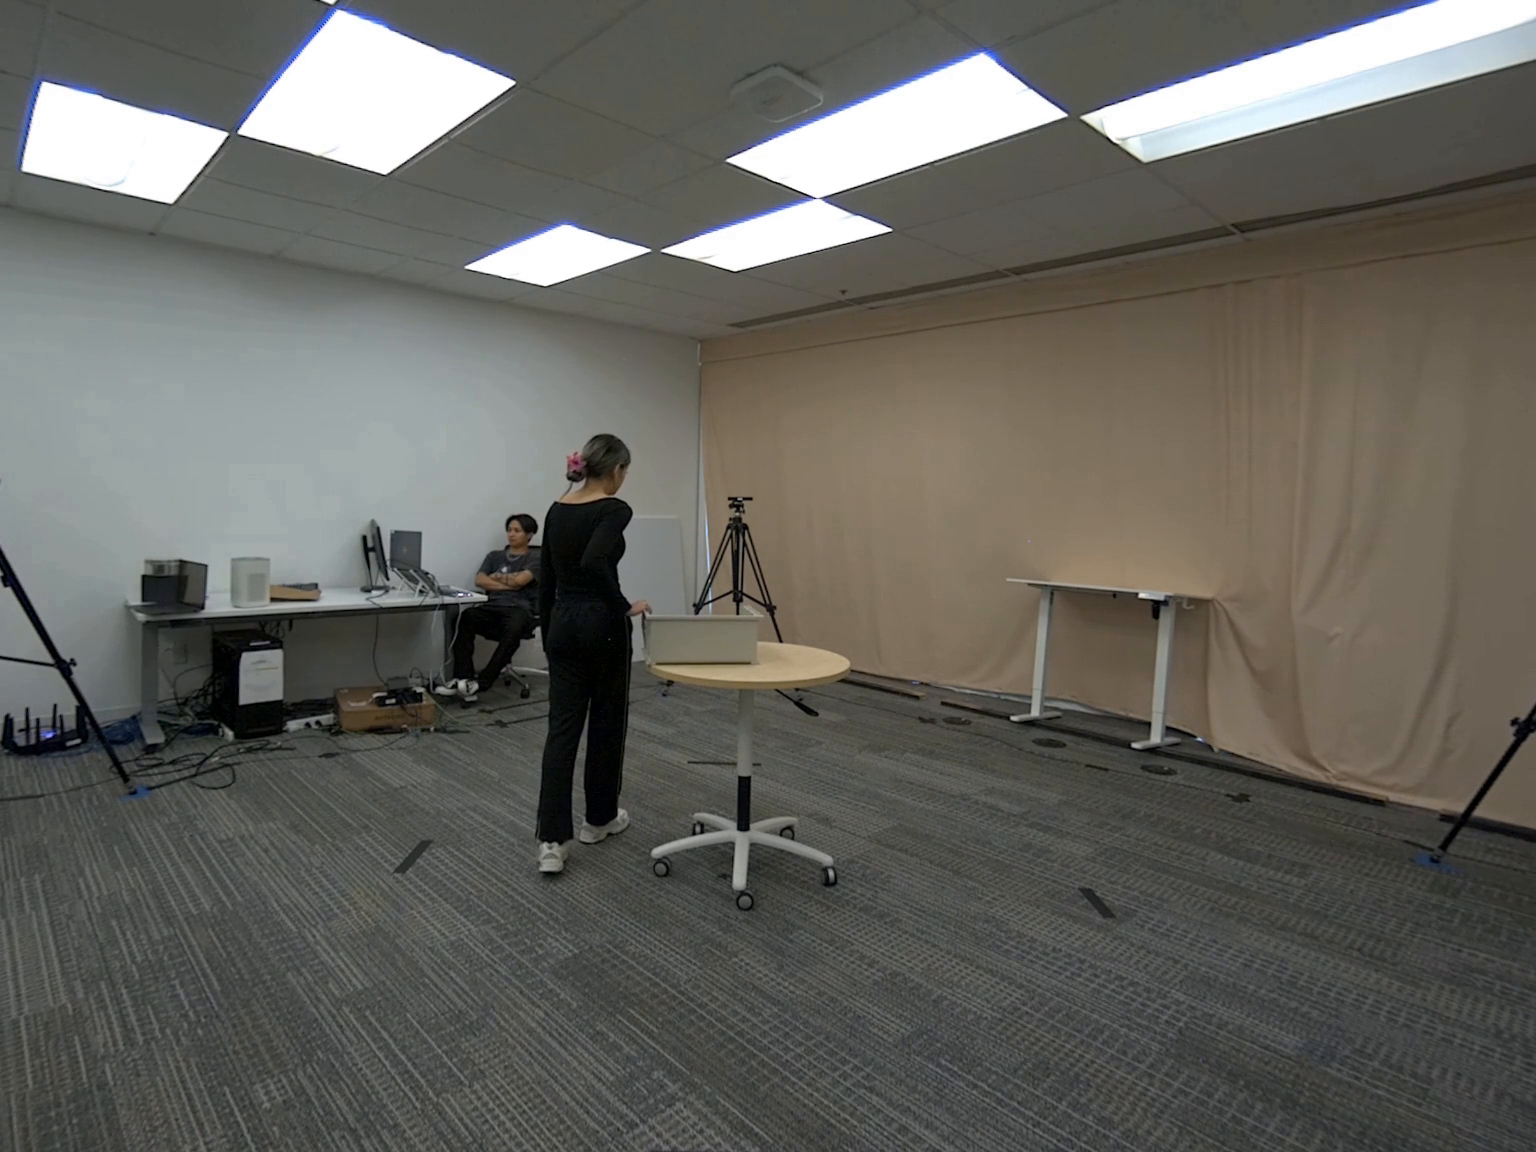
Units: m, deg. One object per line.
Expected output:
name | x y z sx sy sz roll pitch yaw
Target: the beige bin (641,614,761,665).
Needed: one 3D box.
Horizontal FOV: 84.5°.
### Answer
beige bin | -0.264 0.209 3.194 0.419 0.188 0.381 0 7 -8
